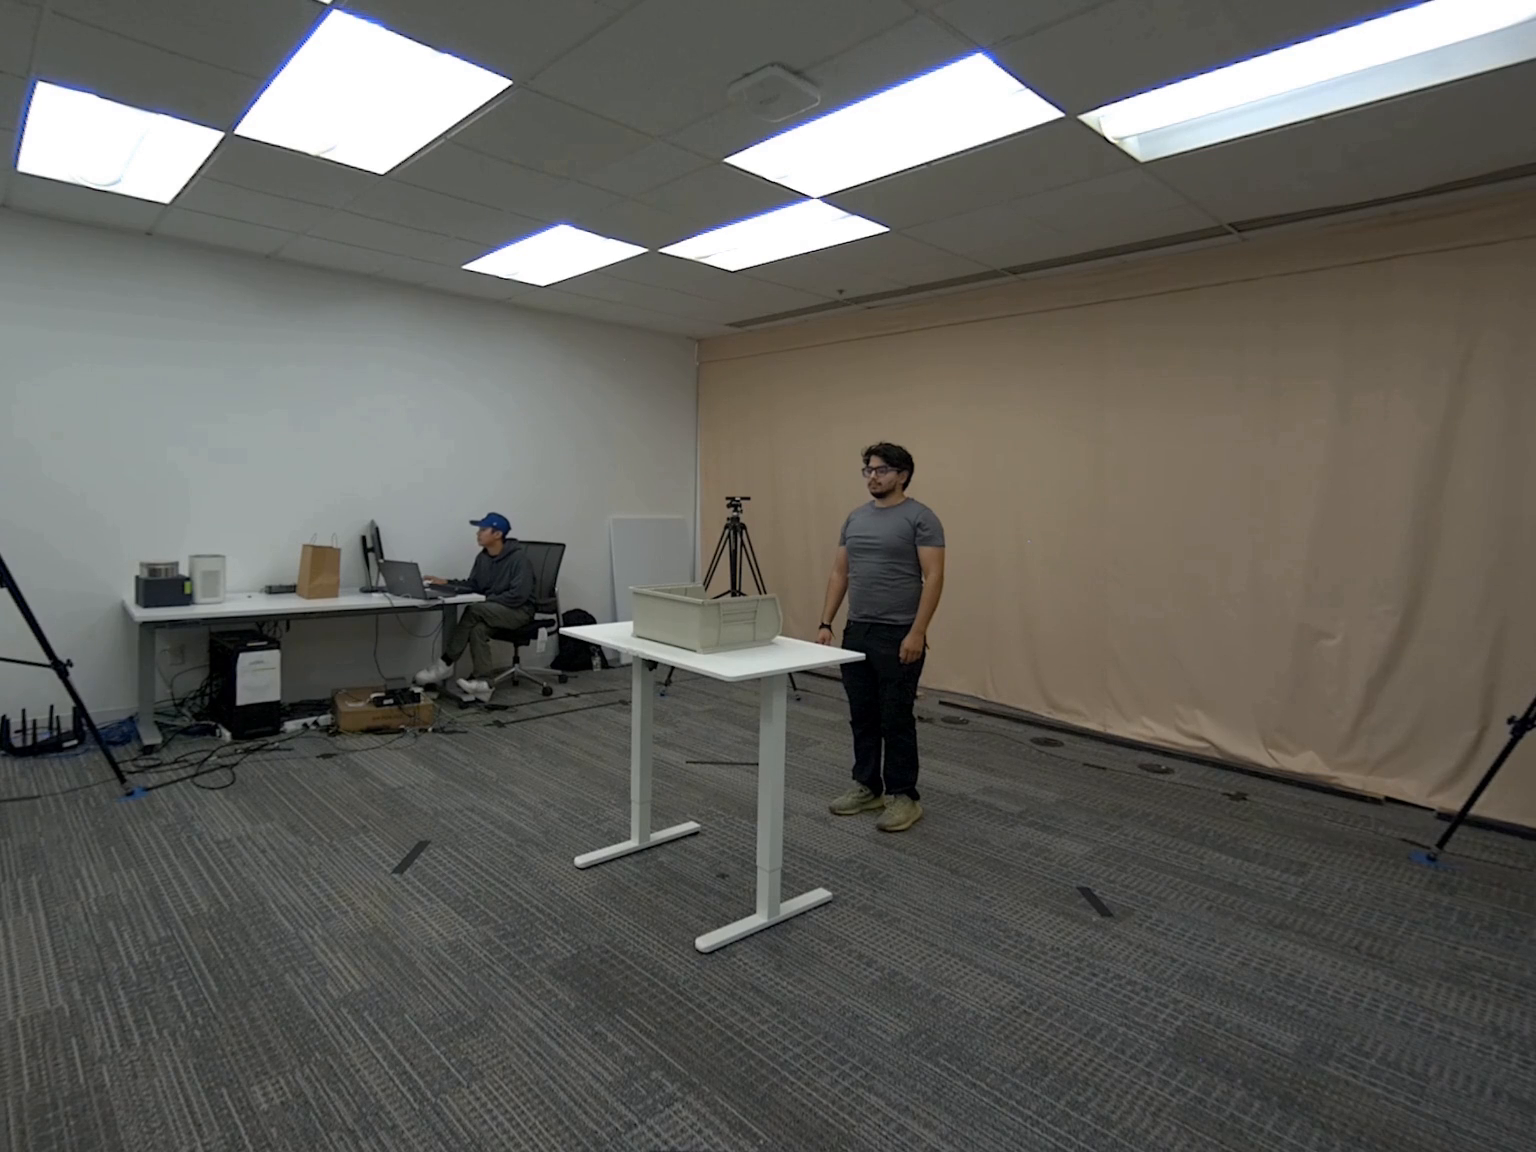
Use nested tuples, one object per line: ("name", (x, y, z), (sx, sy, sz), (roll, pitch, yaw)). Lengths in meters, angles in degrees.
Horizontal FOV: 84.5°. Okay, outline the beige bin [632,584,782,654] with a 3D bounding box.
("beige bin", (-0.228, 0.142, 3.001), (0.369, 0.188, 0.433), (-5, 9, -42))
